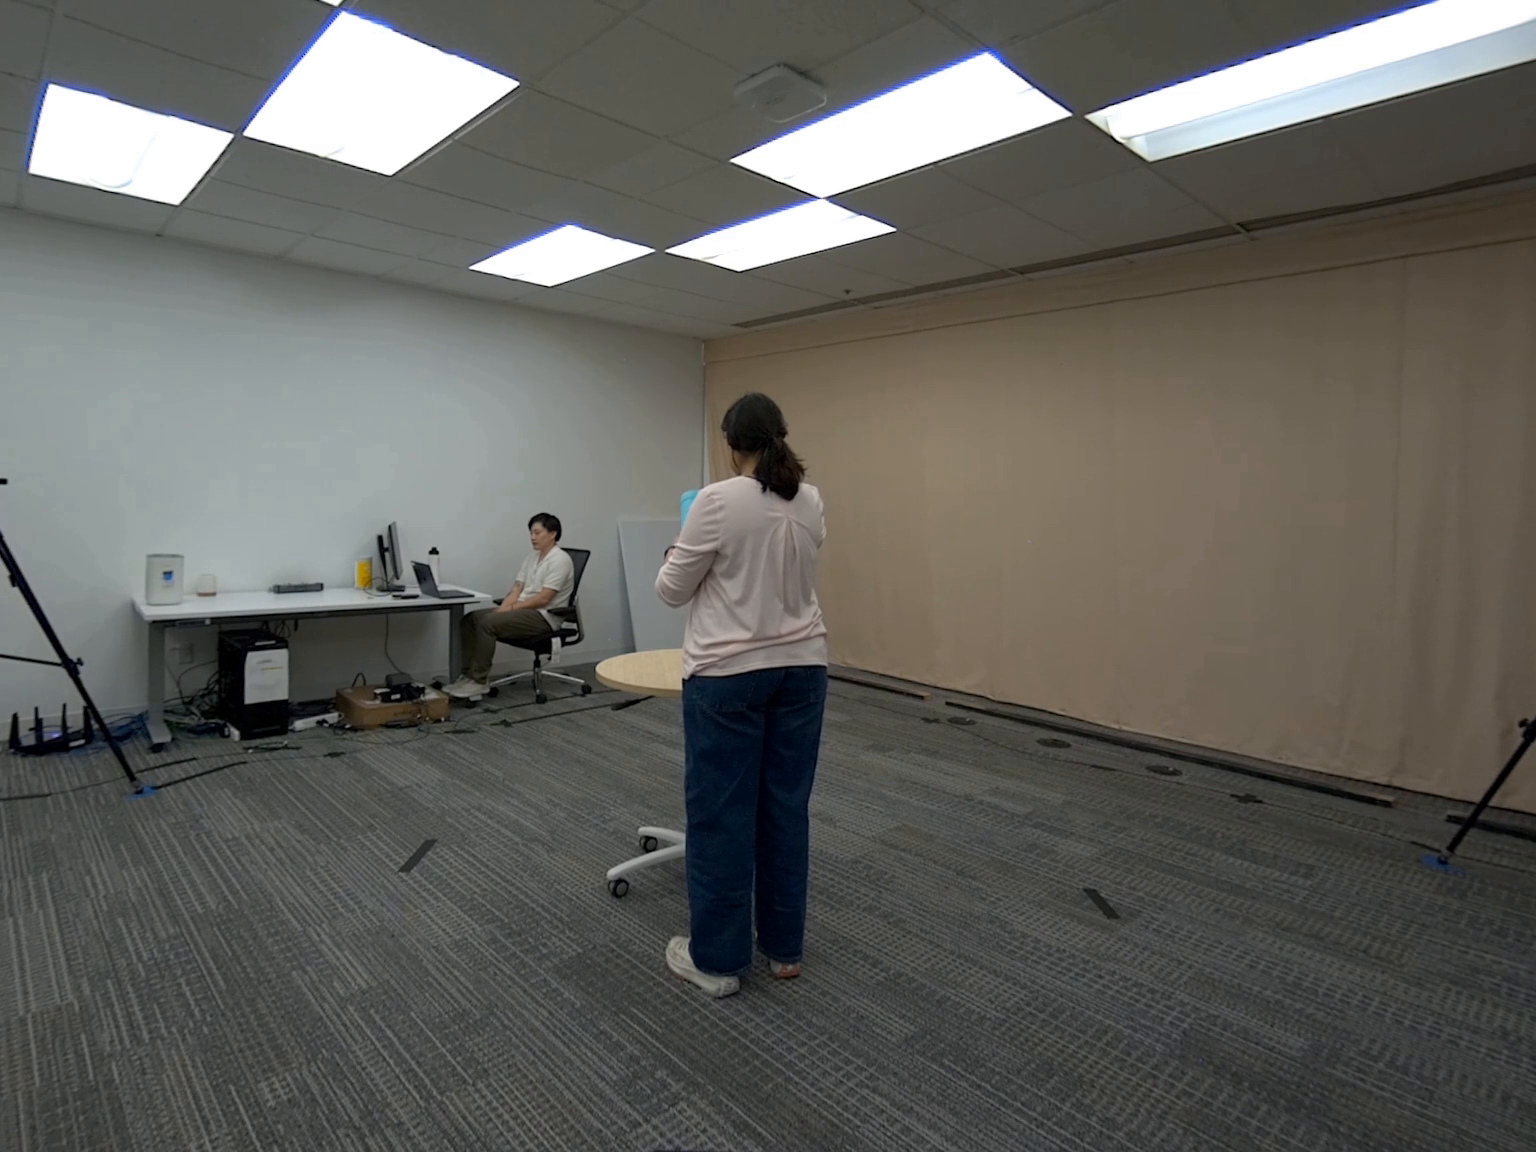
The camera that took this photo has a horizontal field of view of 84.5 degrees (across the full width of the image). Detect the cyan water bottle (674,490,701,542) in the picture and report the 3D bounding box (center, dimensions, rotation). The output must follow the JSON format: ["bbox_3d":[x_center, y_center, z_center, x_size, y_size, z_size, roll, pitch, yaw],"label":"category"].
[{"bbox_3d":[-0.252,-0.133,2.732,0.092,0.288,0.091,0,-27,-1],"label":"cyan water bottle"}]
